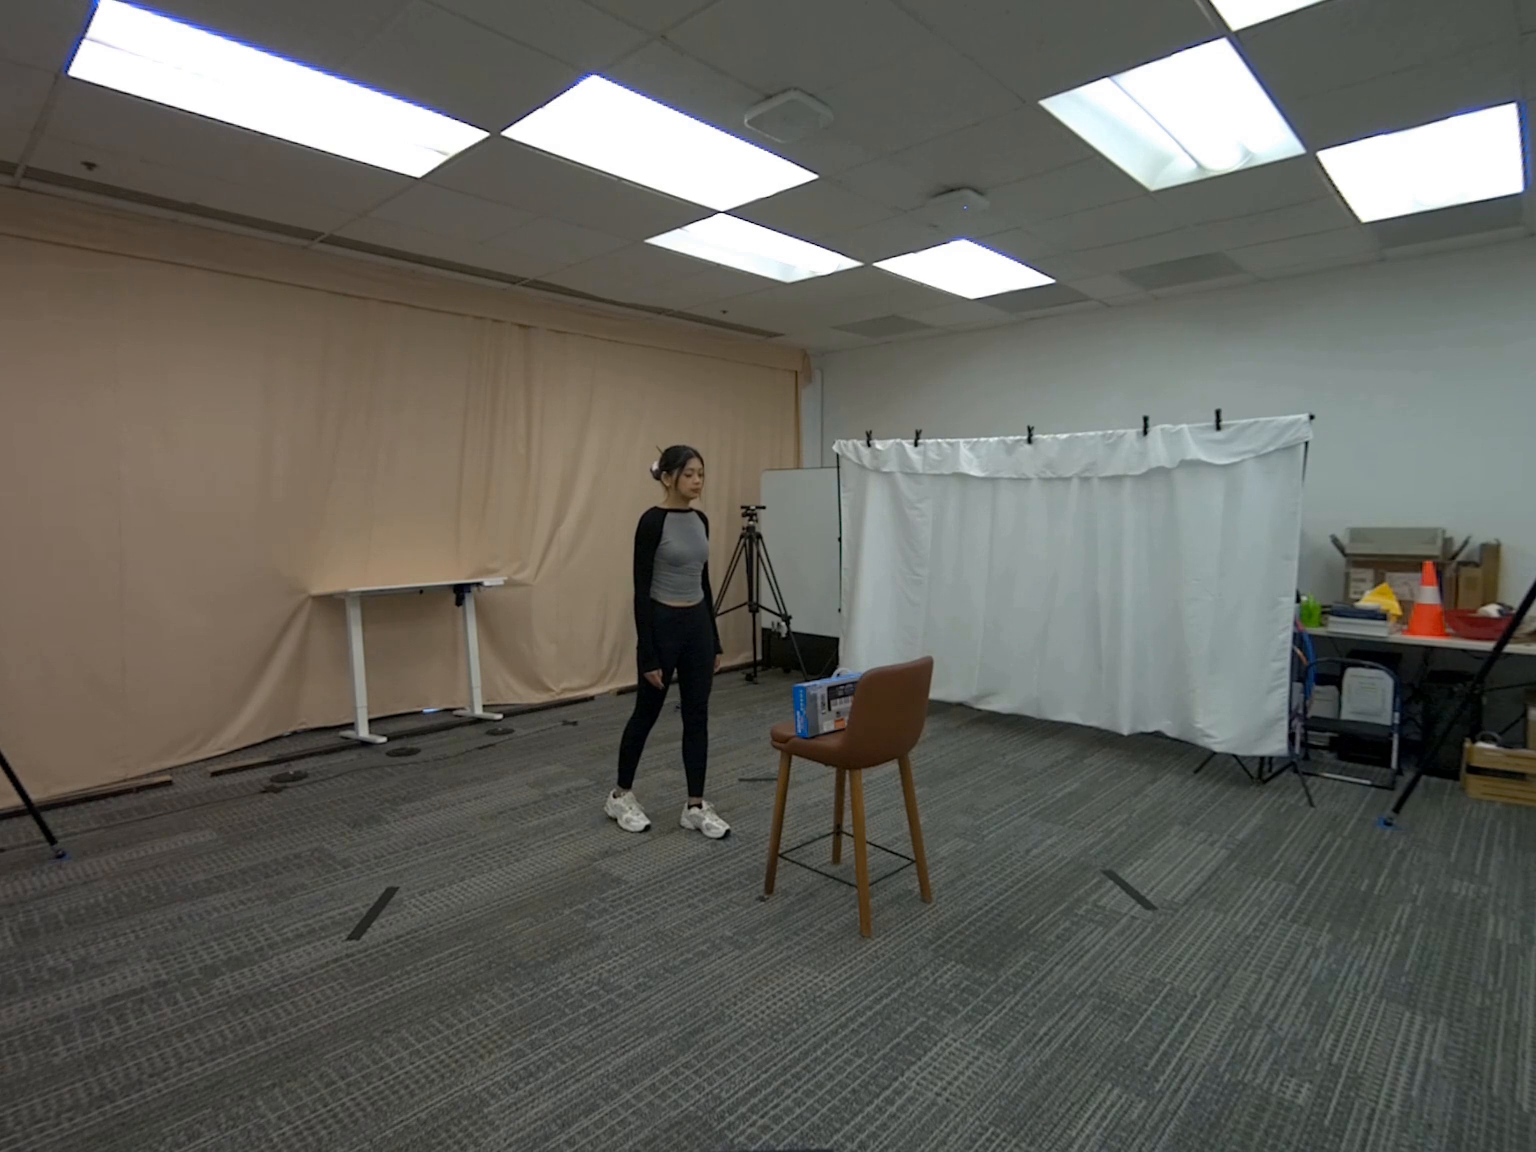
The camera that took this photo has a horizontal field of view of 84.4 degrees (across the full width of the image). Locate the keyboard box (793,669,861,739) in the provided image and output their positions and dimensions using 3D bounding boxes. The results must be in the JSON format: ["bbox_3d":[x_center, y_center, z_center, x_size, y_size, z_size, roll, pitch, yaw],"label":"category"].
[{"bbox_3d":[0.273,0.444,2.964,0.423,0.176,0.061,-4,0,-41],"label":"keyboard box"}]
